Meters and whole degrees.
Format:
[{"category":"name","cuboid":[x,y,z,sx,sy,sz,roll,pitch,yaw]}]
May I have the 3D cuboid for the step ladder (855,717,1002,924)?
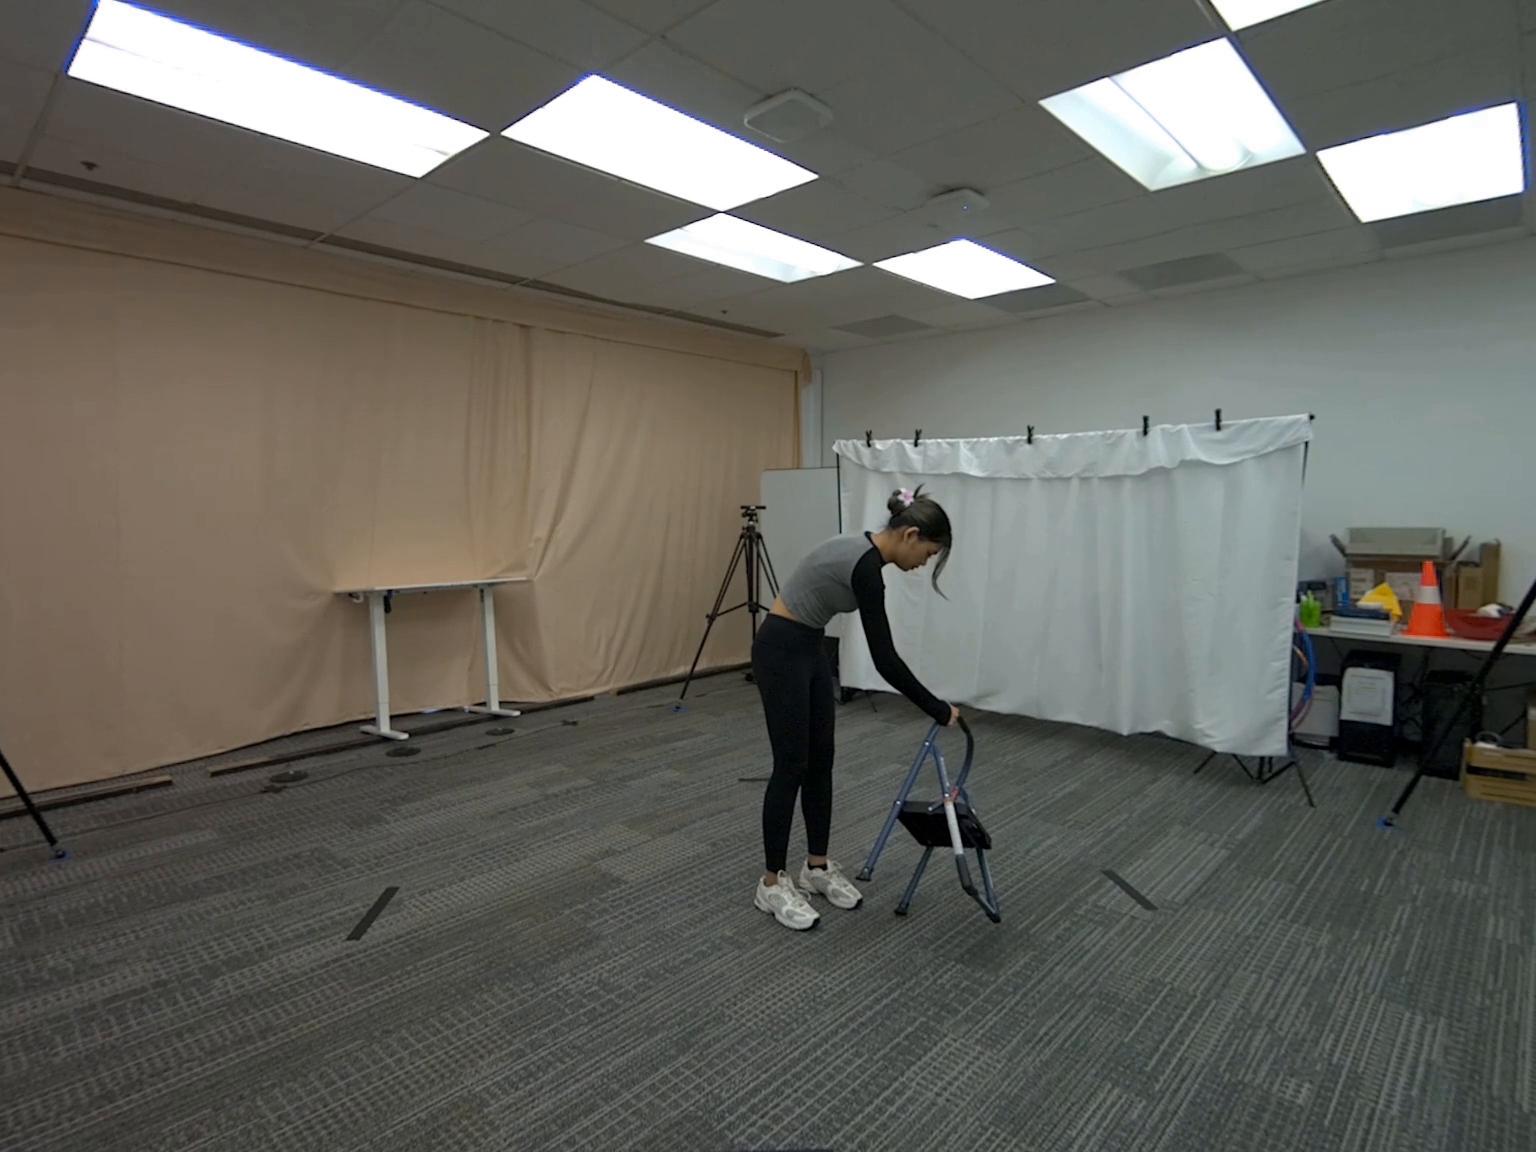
[{"category":"step ladder","cuboid":[0.570,0.772,2.794,0.358,0.612,0.416,-5,-35,27]}]
